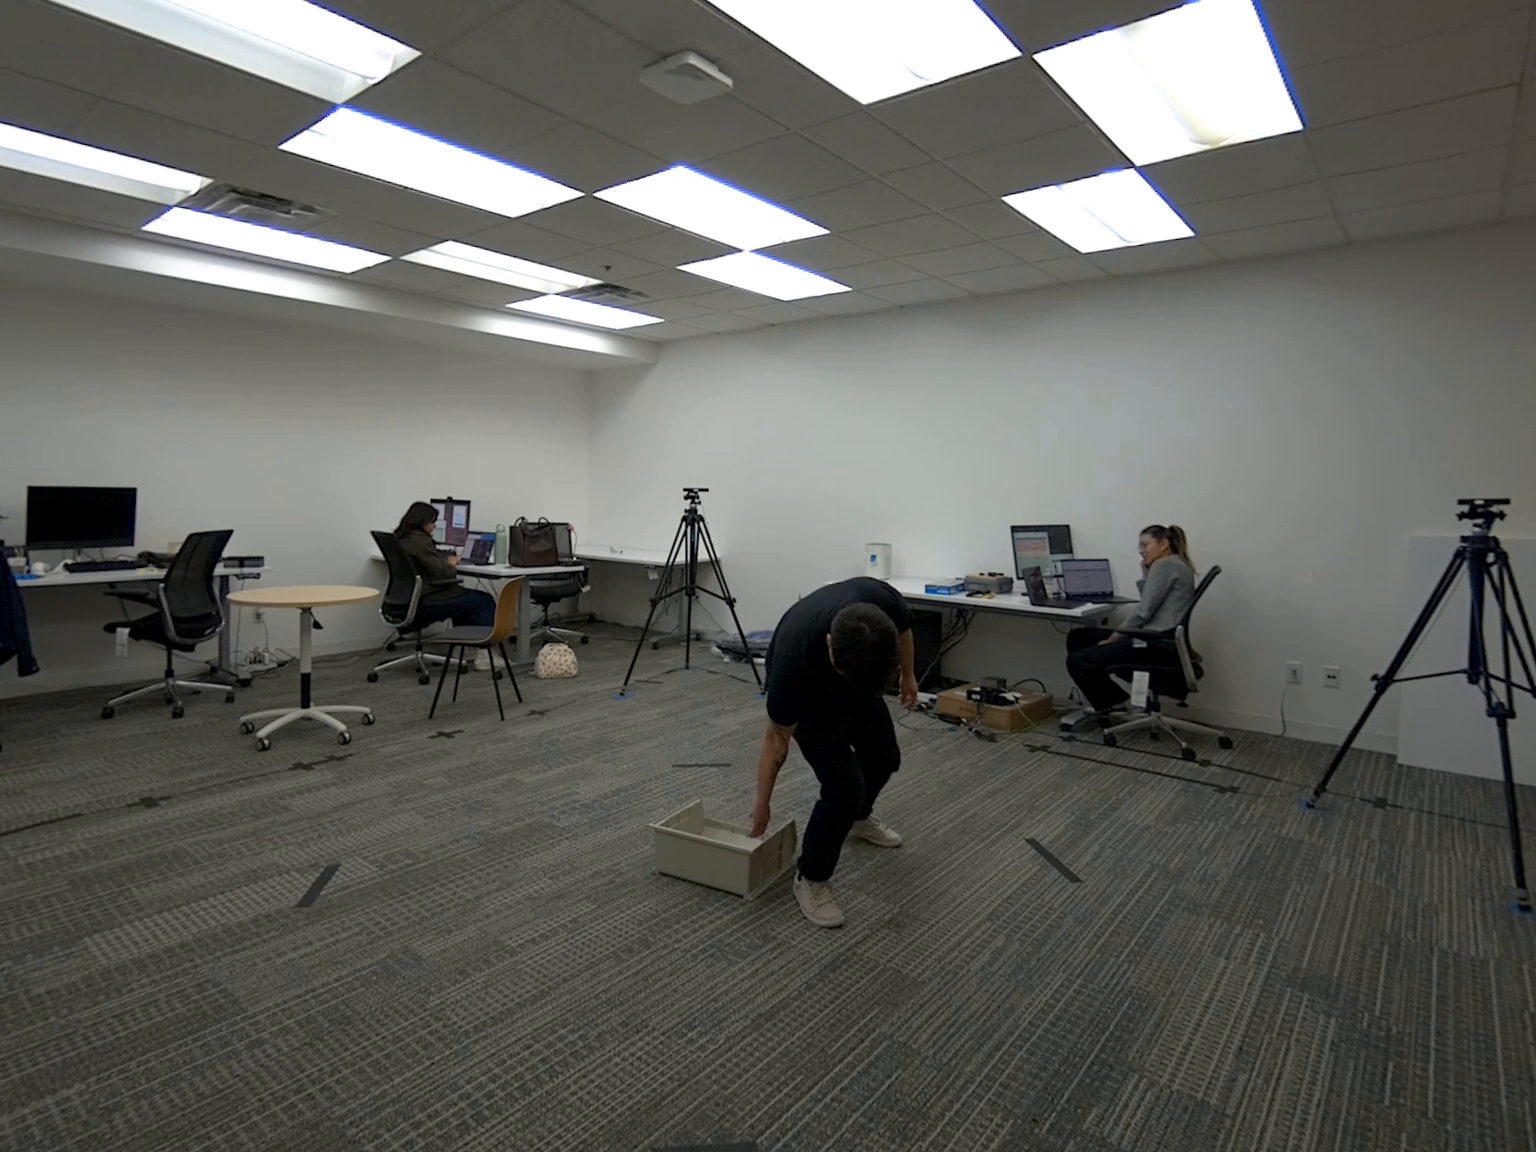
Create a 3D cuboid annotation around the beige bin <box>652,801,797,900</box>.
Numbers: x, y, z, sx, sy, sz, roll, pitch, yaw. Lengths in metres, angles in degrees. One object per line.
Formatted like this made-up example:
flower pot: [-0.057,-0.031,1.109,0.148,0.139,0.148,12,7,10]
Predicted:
beige bin: [-0.166,0.978,3.120,0.434,0.188,0.368,5,6,28]
